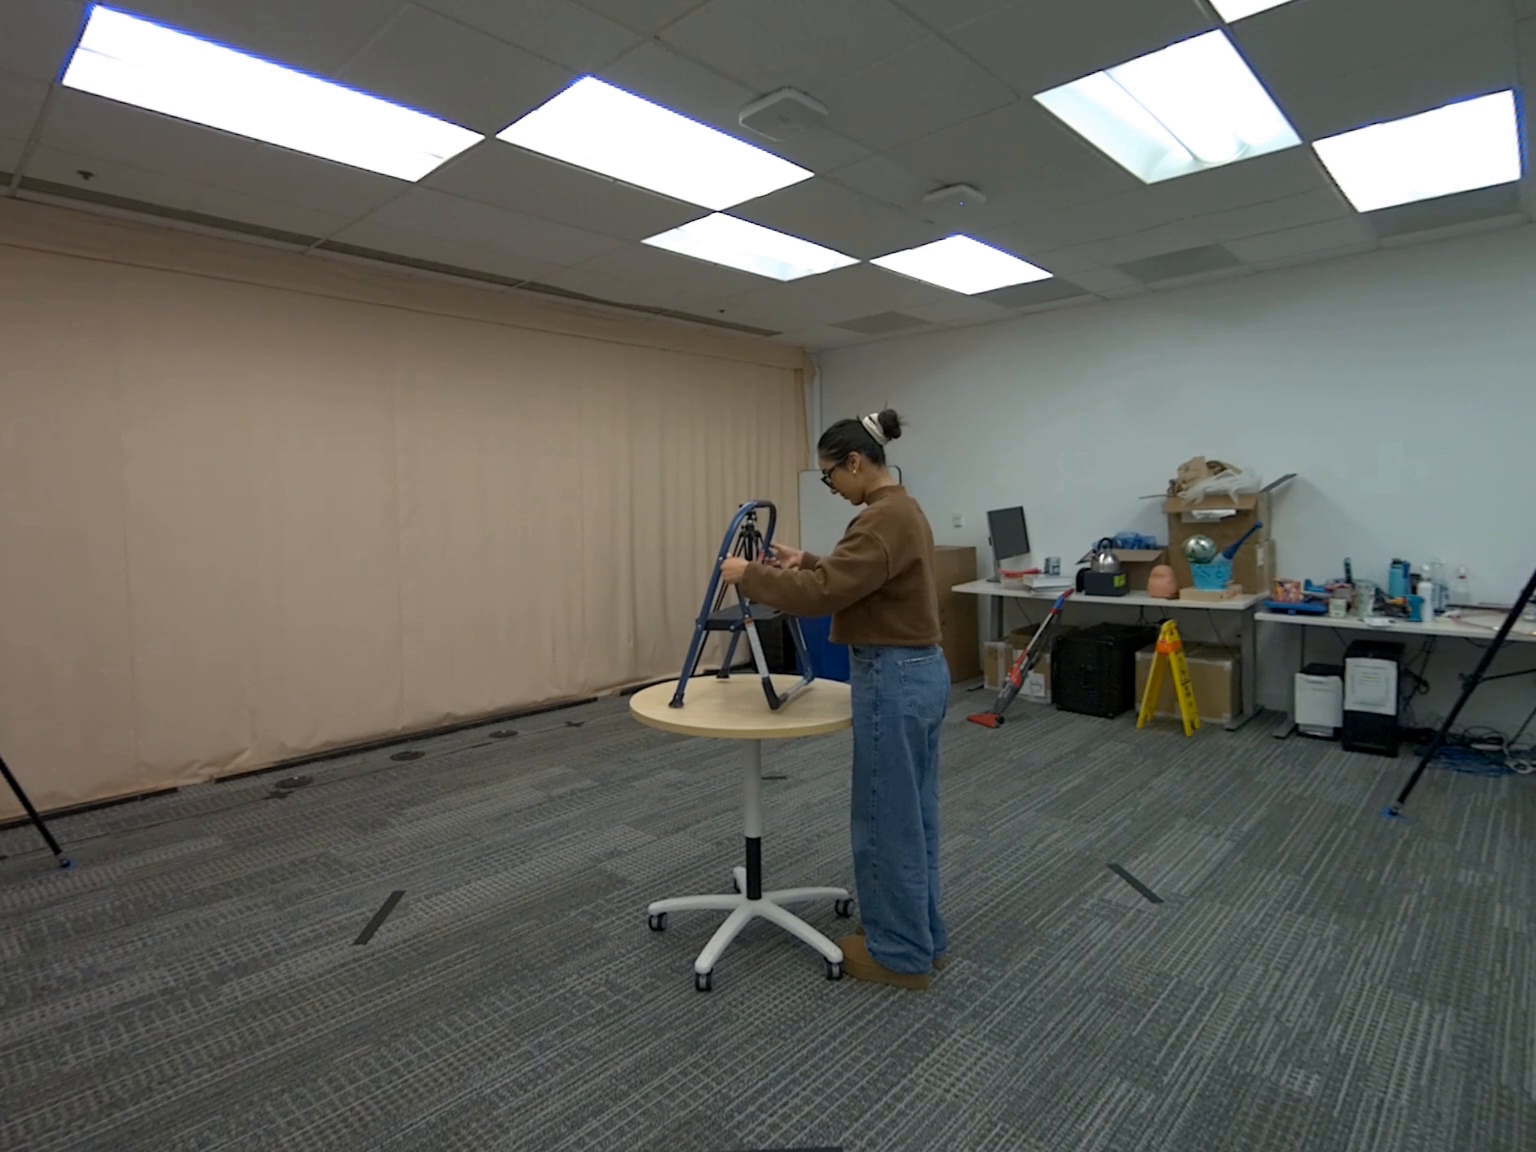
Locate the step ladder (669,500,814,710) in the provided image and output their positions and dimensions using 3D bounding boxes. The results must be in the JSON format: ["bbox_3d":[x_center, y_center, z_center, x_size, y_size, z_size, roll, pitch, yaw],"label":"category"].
[{"bbox_3d":[-0.081,0.074,2.660,0.357,0.605,0.422,-2,3,20],"label":"step ladder"}]
